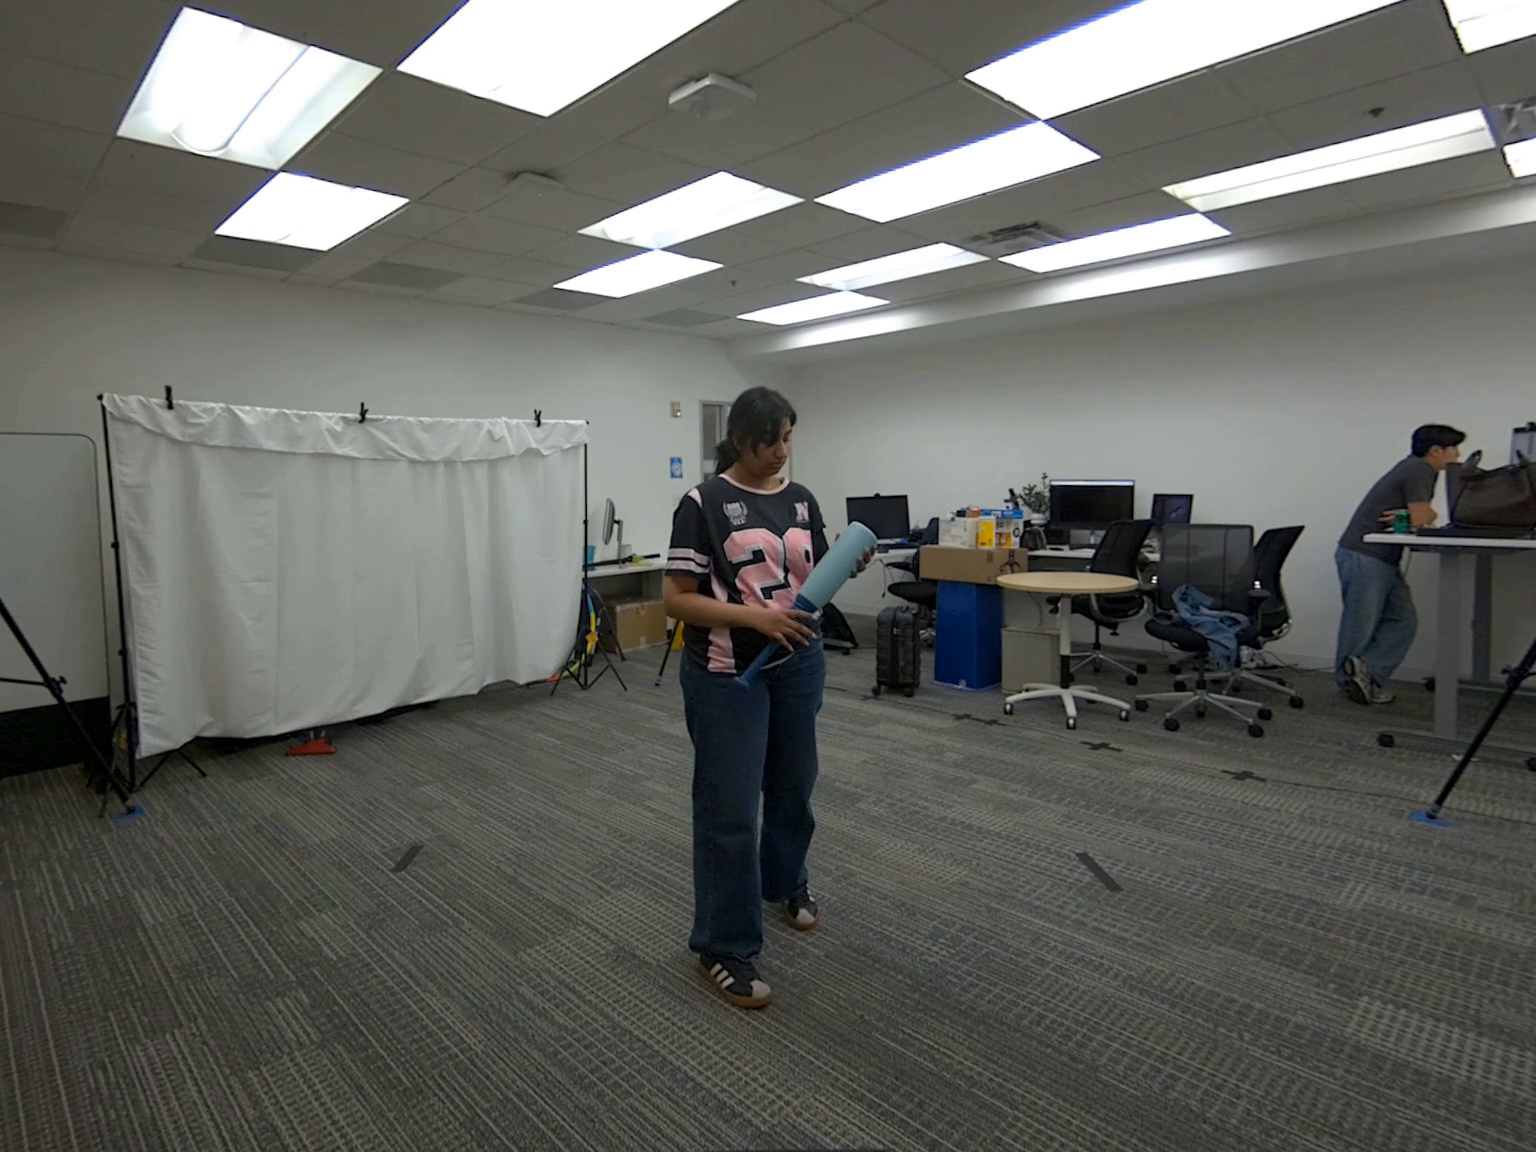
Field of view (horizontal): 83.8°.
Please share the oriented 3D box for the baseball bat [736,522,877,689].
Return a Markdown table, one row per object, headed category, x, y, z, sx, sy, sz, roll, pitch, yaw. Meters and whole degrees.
| category | x | y | z | sx | sy | sz | roll | pitch | yaw |
| --- | --- | --- | --- | --- | --- | --- | --- | --- | --- |
| baseball bat | 0.090 | 0.094 | 2.250 | 0.090 | 0.543 | 0.088 | 38 | -8 | 4 |
